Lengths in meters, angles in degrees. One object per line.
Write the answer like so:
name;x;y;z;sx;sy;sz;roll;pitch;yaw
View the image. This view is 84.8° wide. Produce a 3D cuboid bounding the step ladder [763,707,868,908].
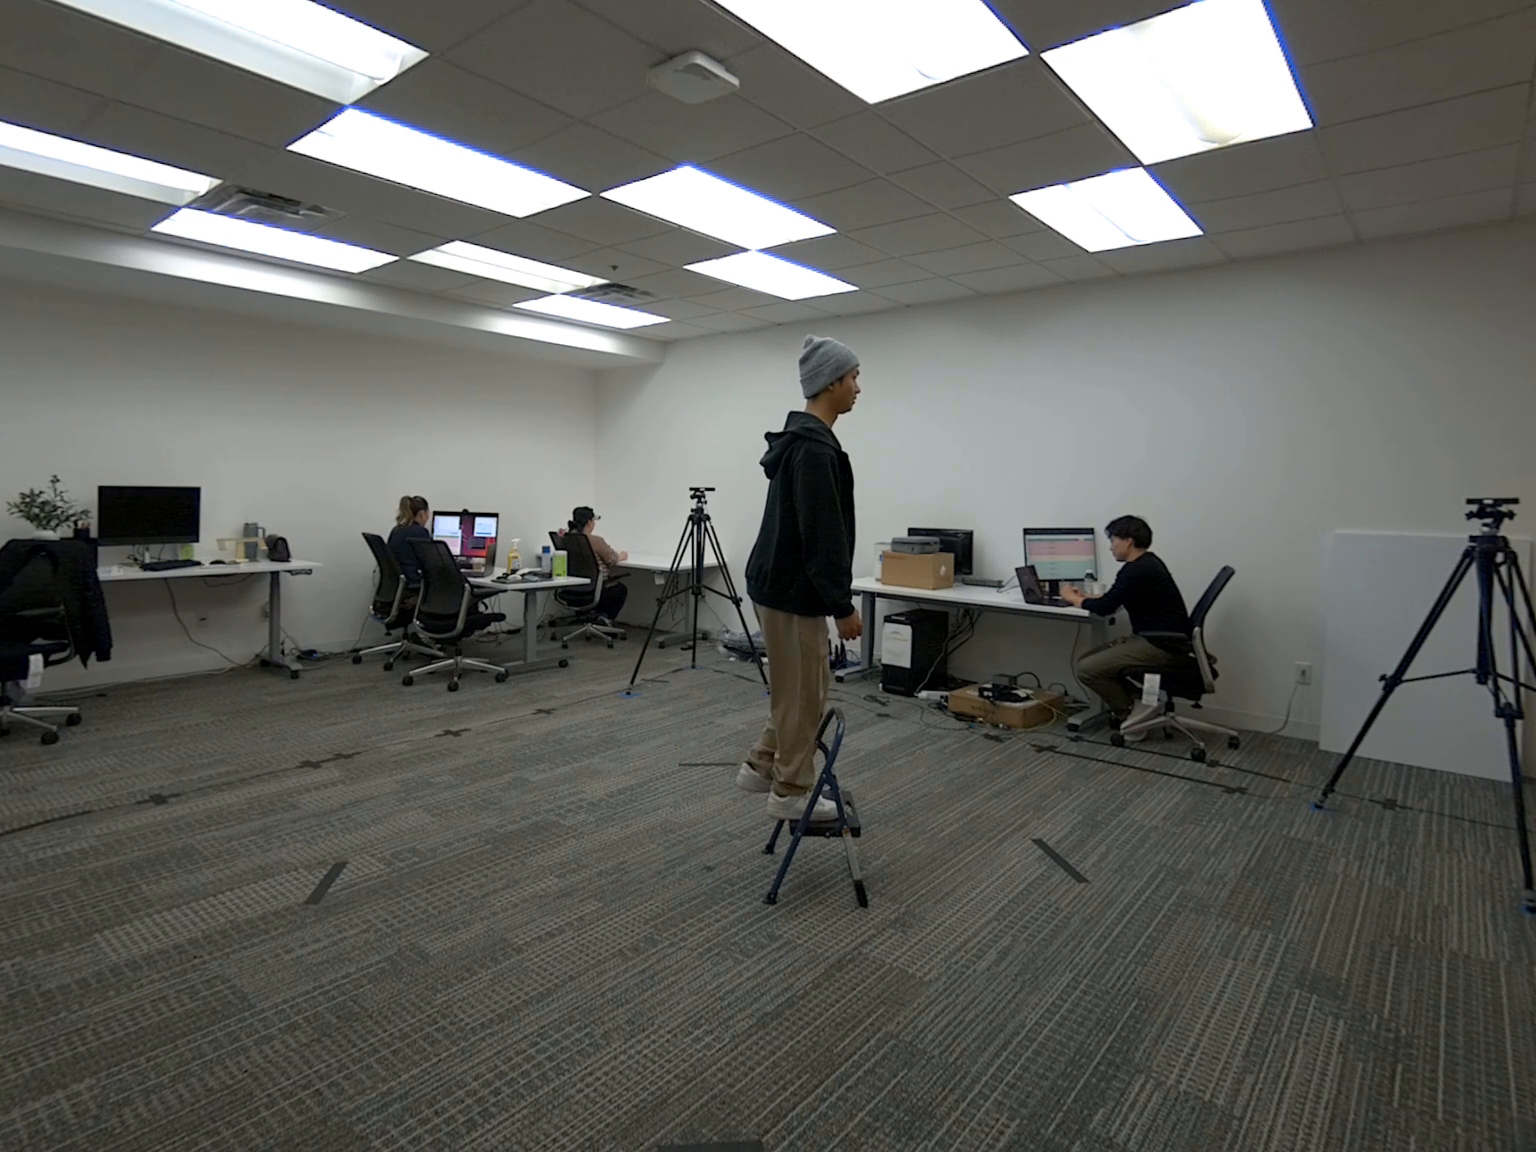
step ladder;0.161;0.784;3.038;0.350;0.604;0.432;1;4;0
